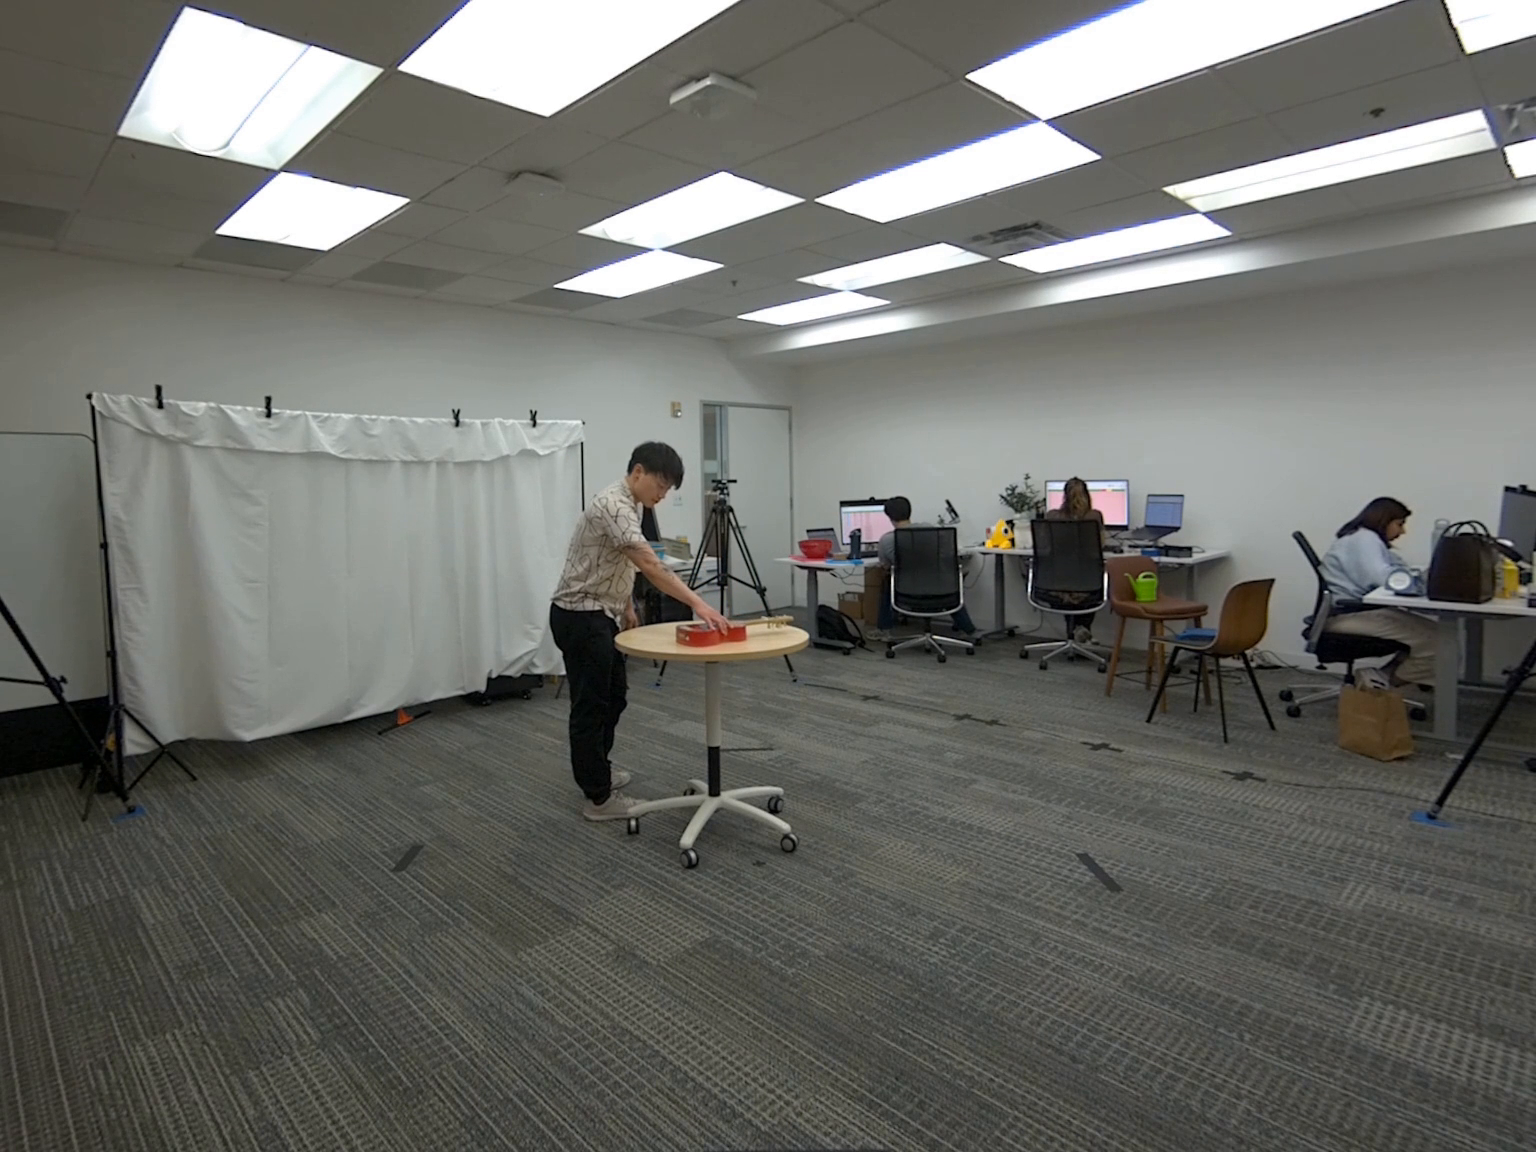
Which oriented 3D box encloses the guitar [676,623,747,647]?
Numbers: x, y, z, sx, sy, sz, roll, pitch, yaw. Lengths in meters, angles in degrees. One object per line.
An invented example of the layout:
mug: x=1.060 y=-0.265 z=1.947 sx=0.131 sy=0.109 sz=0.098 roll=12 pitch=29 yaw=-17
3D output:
guitar: x=-0.109 y=0.212 z=3.294 sx=0.489 sy=0.070 sz=0.197 roll=-3 pitch=7 yaw=-20
